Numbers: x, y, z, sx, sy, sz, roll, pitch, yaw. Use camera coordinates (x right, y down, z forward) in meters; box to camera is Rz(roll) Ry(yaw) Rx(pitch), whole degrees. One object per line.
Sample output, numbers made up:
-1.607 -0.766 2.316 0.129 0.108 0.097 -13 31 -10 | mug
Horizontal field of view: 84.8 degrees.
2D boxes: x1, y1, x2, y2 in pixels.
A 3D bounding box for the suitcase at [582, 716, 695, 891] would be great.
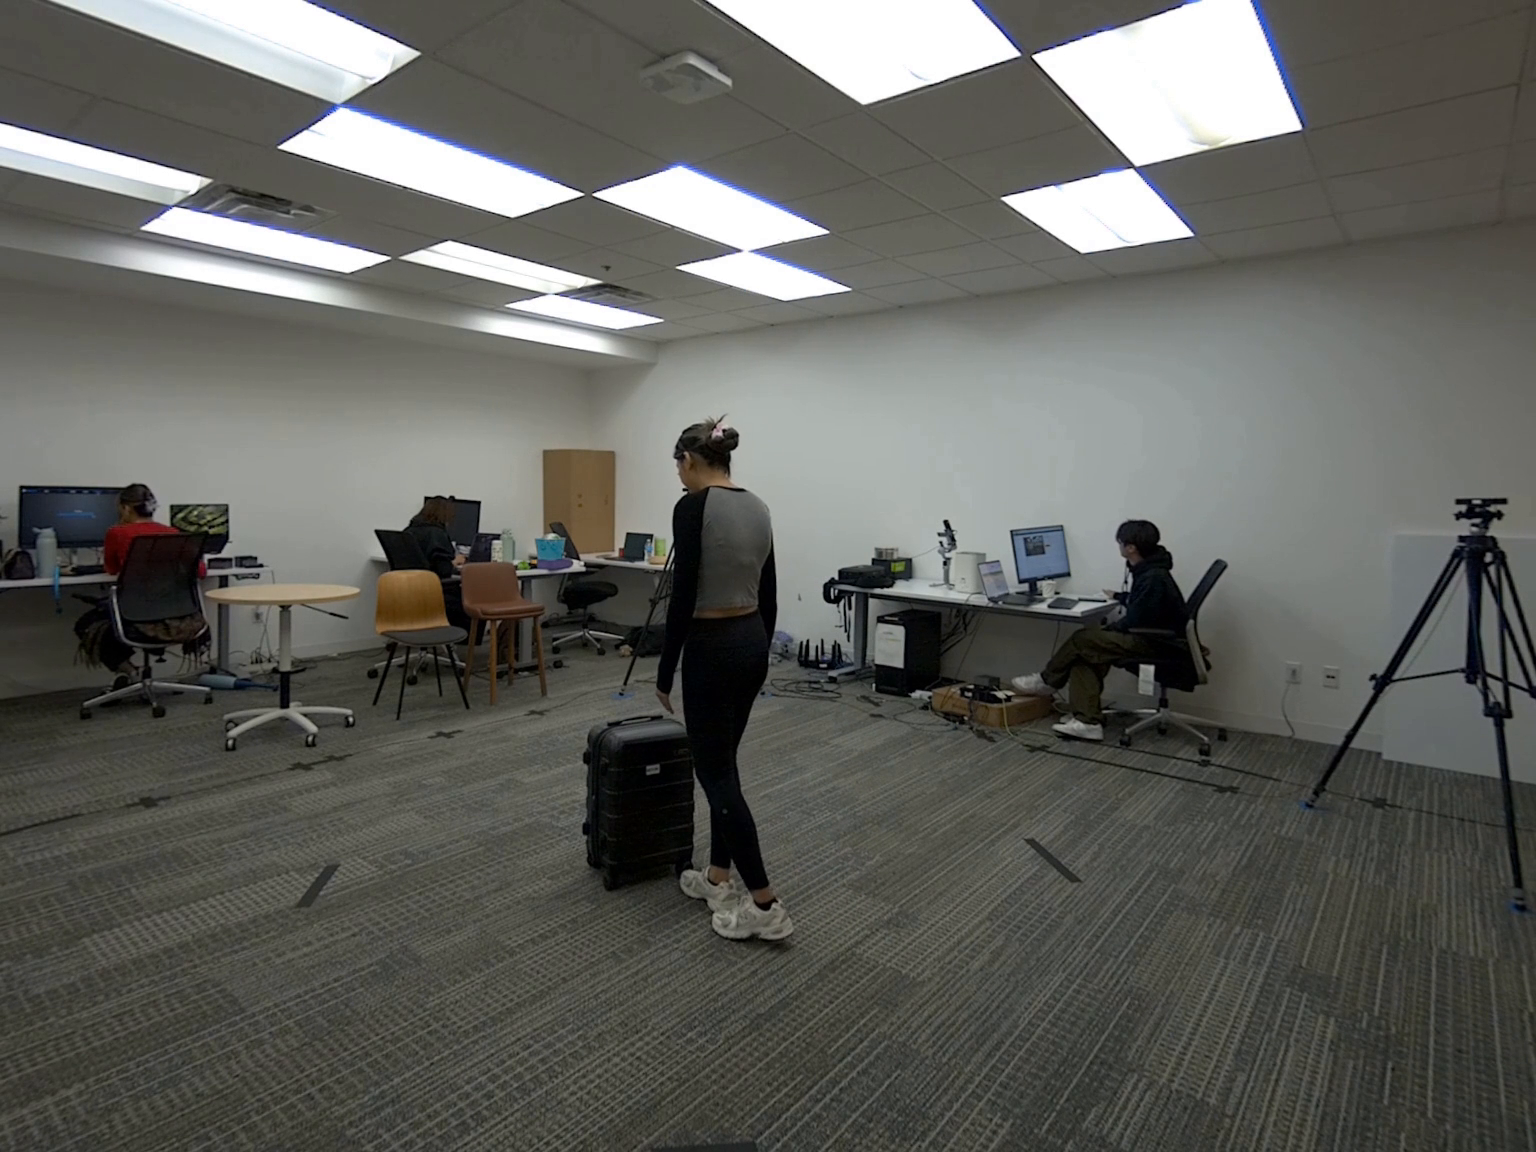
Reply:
-0.470 0.788 3.077 0.365 0.547 0.256 0 4 -32 | suitcase
